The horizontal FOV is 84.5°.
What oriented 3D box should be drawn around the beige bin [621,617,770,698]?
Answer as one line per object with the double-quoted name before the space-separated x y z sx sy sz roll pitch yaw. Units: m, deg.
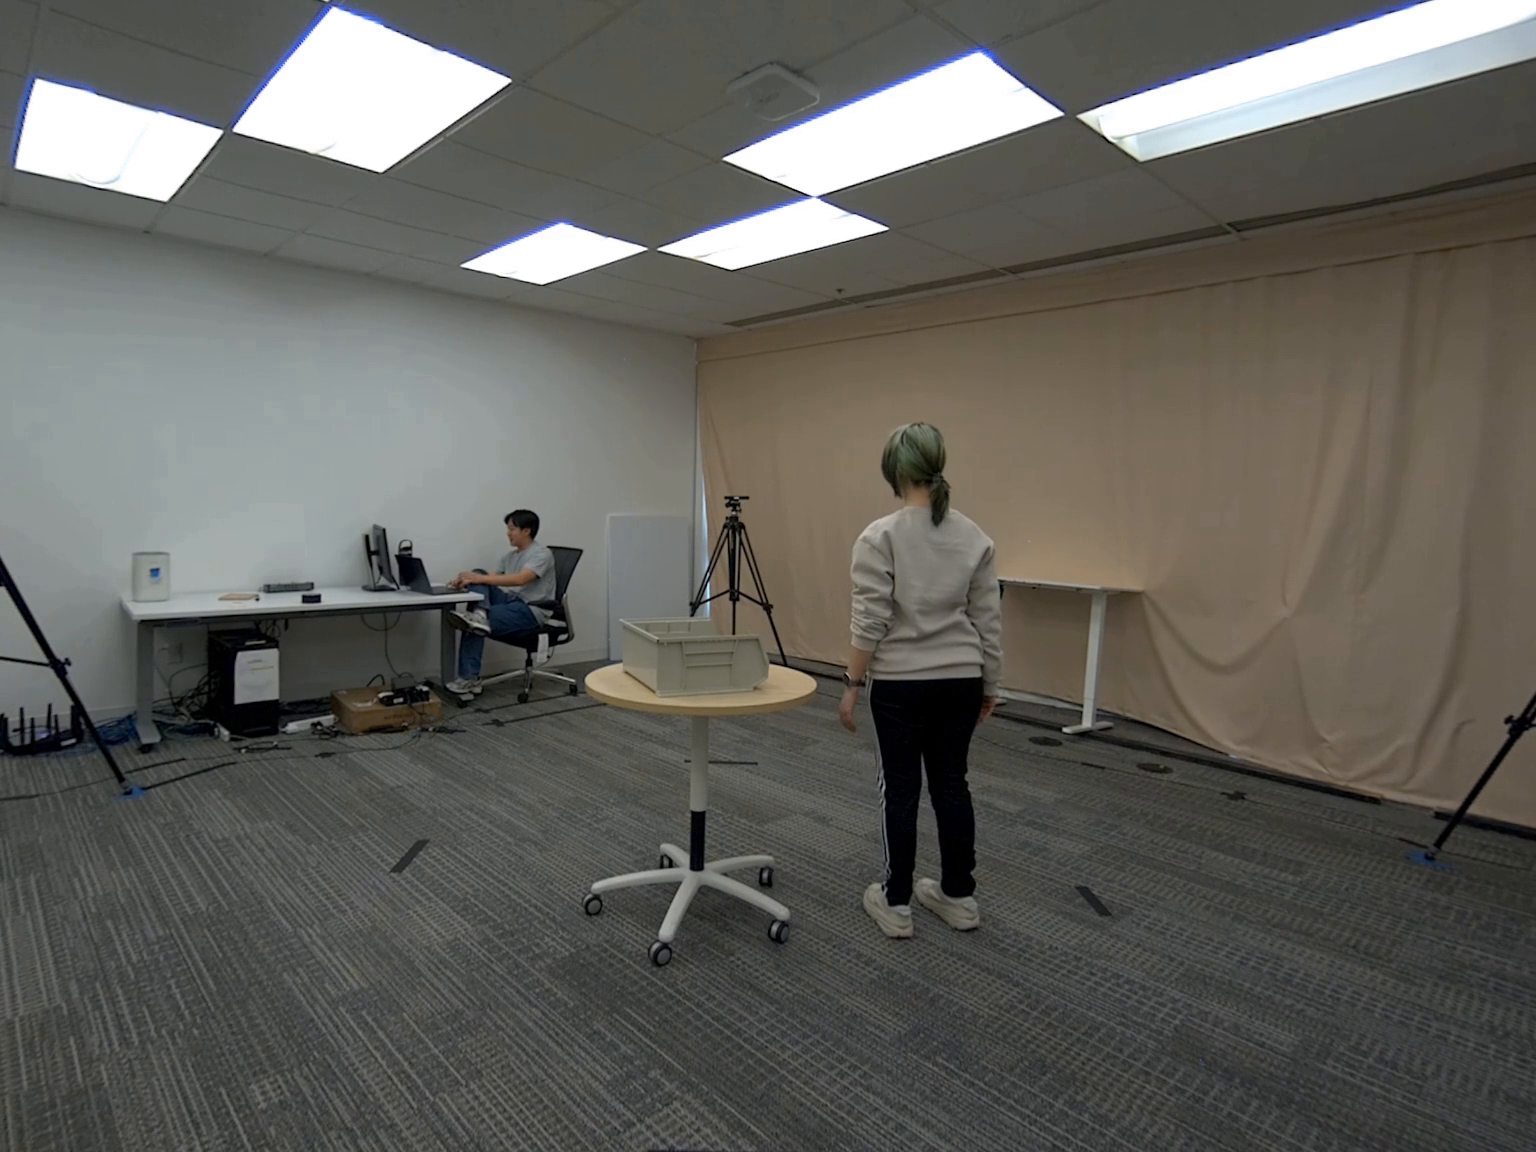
"beige bin" -0.255 0.255 2.777 0.371 0.188 0.431 -2 6 -24
